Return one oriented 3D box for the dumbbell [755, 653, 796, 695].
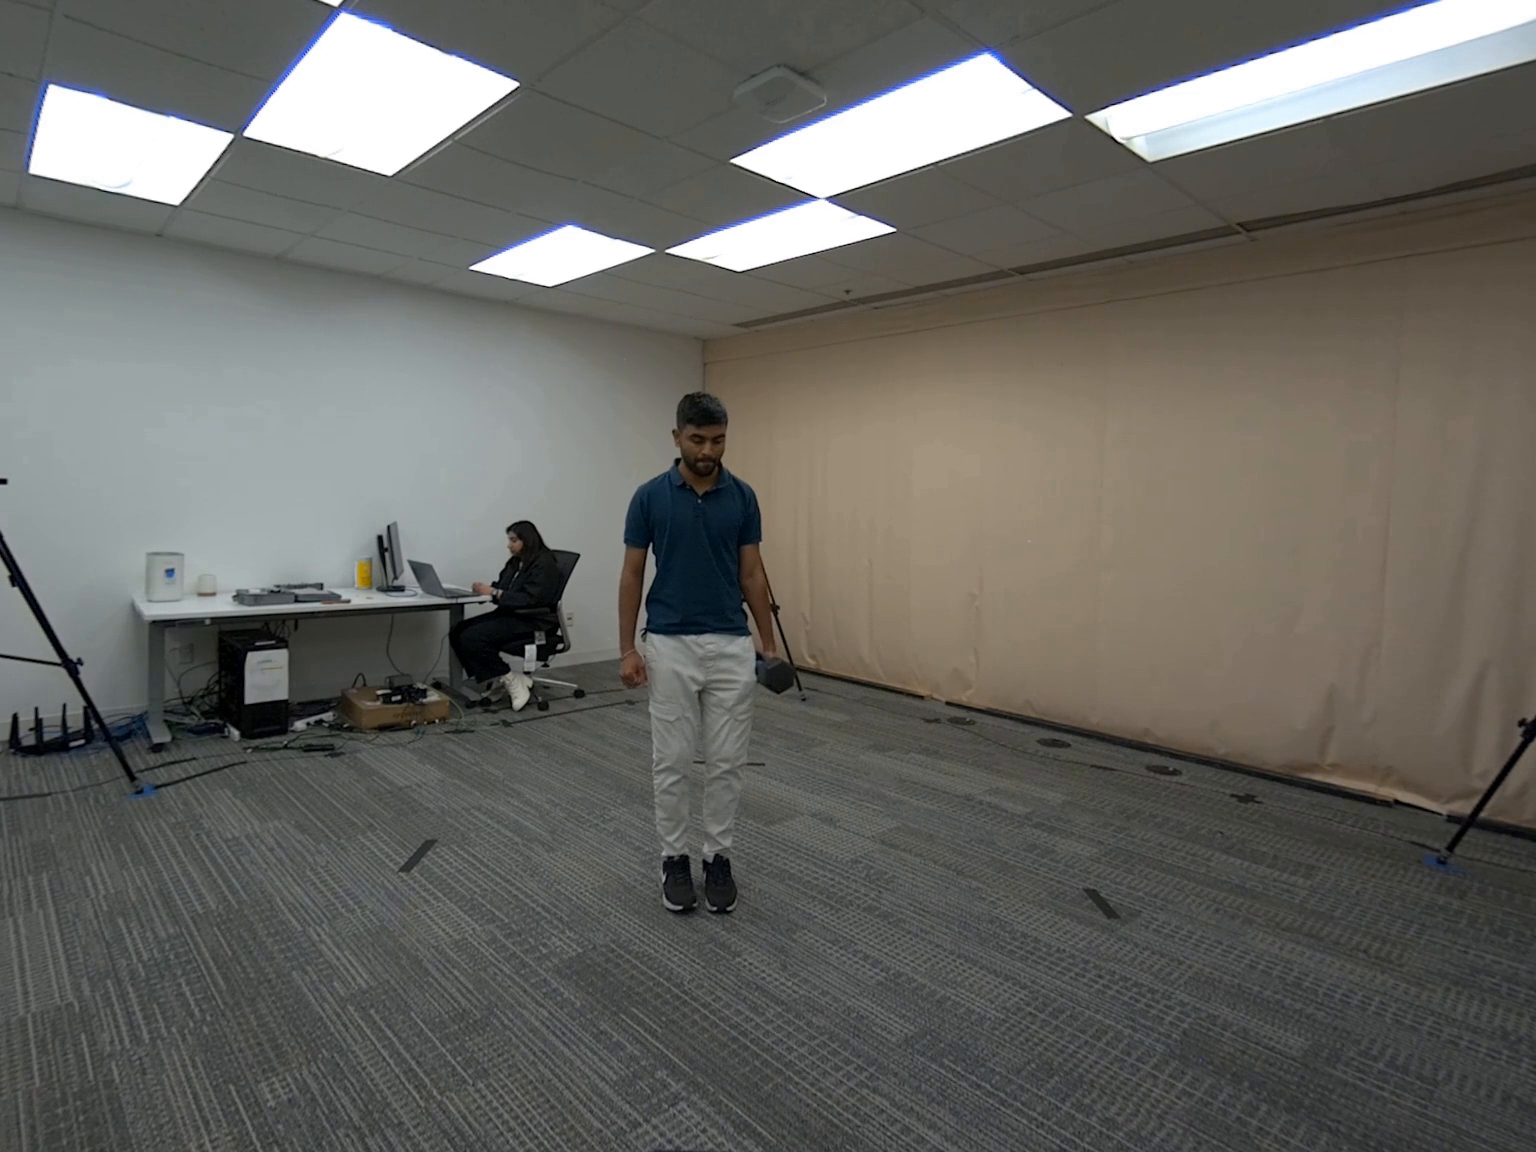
[{"bbox_3d":[-0.018,0.334,2.947,0.107,0.123,0.299,3,1,-23],"label":"dumbbell"}]
